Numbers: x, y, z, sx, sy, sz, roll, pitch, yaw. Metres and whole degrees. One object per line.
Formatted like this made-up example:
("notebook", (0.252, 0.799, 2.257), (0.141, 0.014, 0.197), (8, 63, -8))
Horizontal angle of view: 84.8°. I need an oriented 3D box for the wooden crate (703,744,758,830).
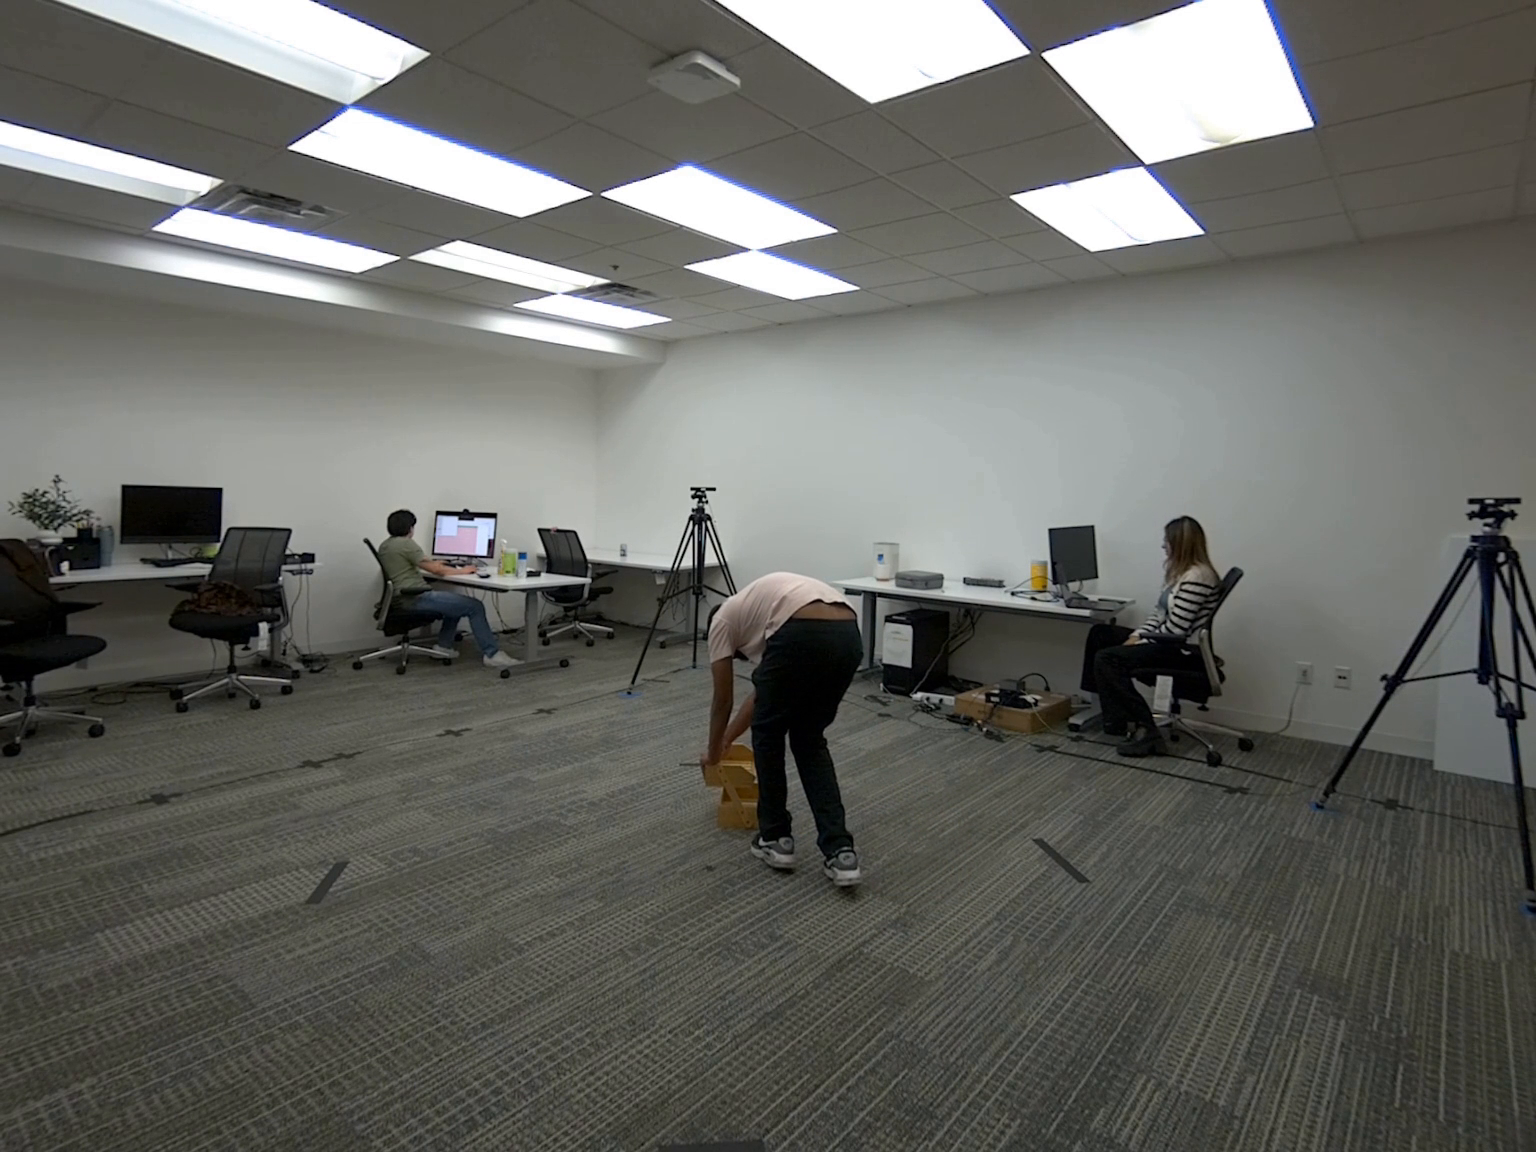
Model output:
("wooden crate", (-0.117, 0.884, 3.632), (0.303, 0.272, 0.325), (0, 4, 1))
